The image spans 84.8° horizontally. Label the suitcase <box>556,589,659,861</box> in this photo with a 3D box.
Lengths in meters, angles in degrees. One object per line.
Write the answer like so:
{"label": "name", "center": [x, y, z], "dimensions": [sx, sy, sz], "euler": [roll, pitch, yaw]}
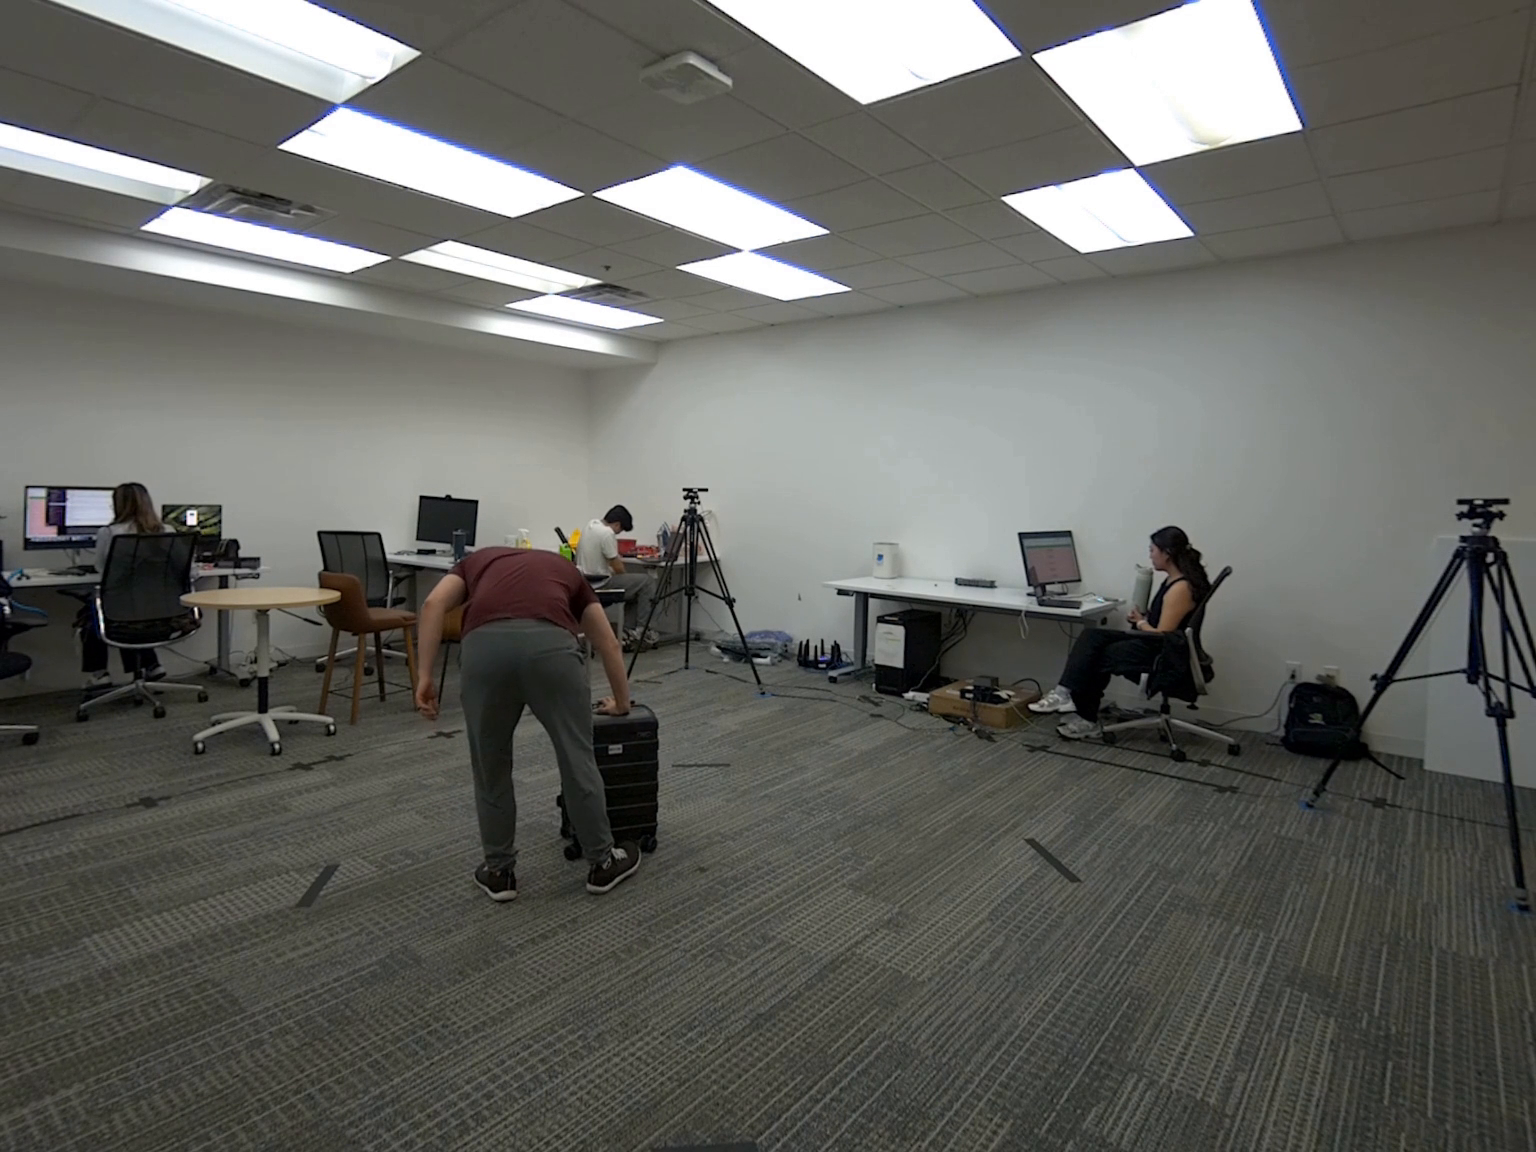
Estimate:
{"label": "suitcase", "center": [-0.616, 0.571, 3.302], "dimensions": [0.376, 0.975, 0.263], "euler": [1, 4, -20]}
